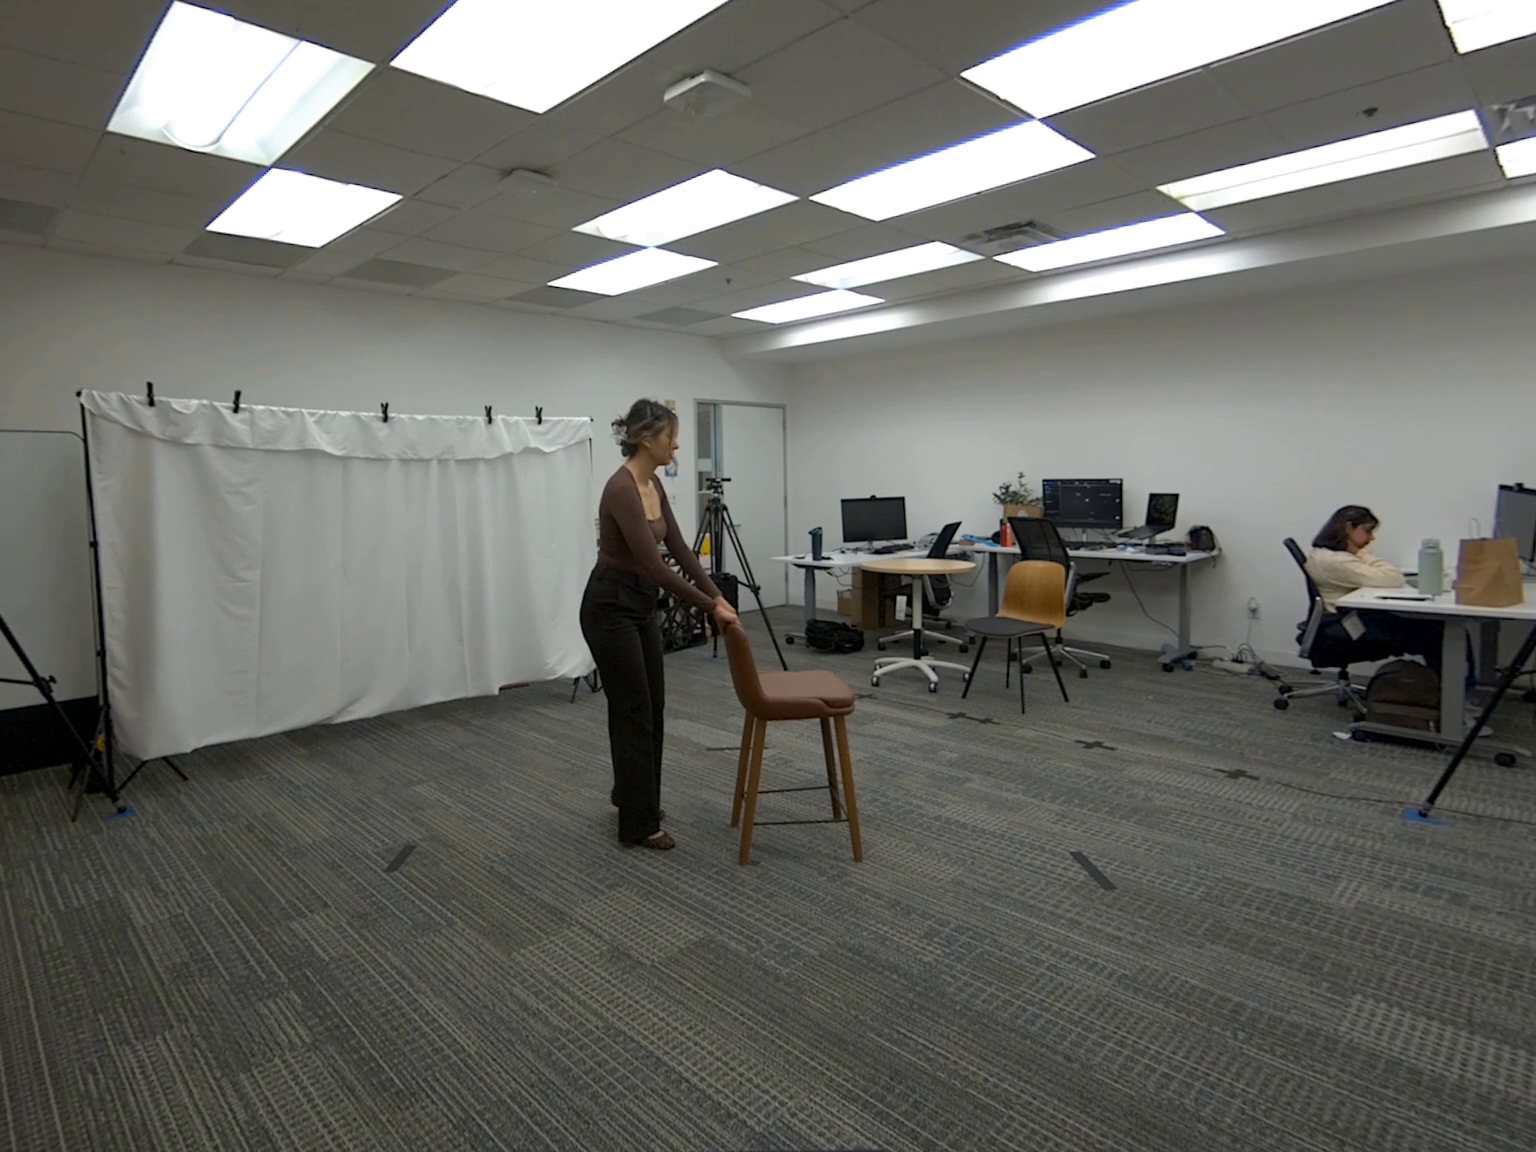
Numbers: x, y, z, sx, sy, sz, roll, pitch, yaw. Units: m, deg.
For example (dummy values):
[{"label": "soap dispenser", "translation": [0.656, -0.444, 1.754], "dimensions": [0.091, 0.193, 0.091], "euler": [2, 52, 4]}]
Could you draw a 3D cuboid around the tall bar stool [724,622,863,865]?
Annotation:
[{"label": "tall bar stool", "translation": [0.081, 0.585, 3.258], "dimensions": [0.465, 0.886, 0.460], "euler": [-3, 4, -6]}]
